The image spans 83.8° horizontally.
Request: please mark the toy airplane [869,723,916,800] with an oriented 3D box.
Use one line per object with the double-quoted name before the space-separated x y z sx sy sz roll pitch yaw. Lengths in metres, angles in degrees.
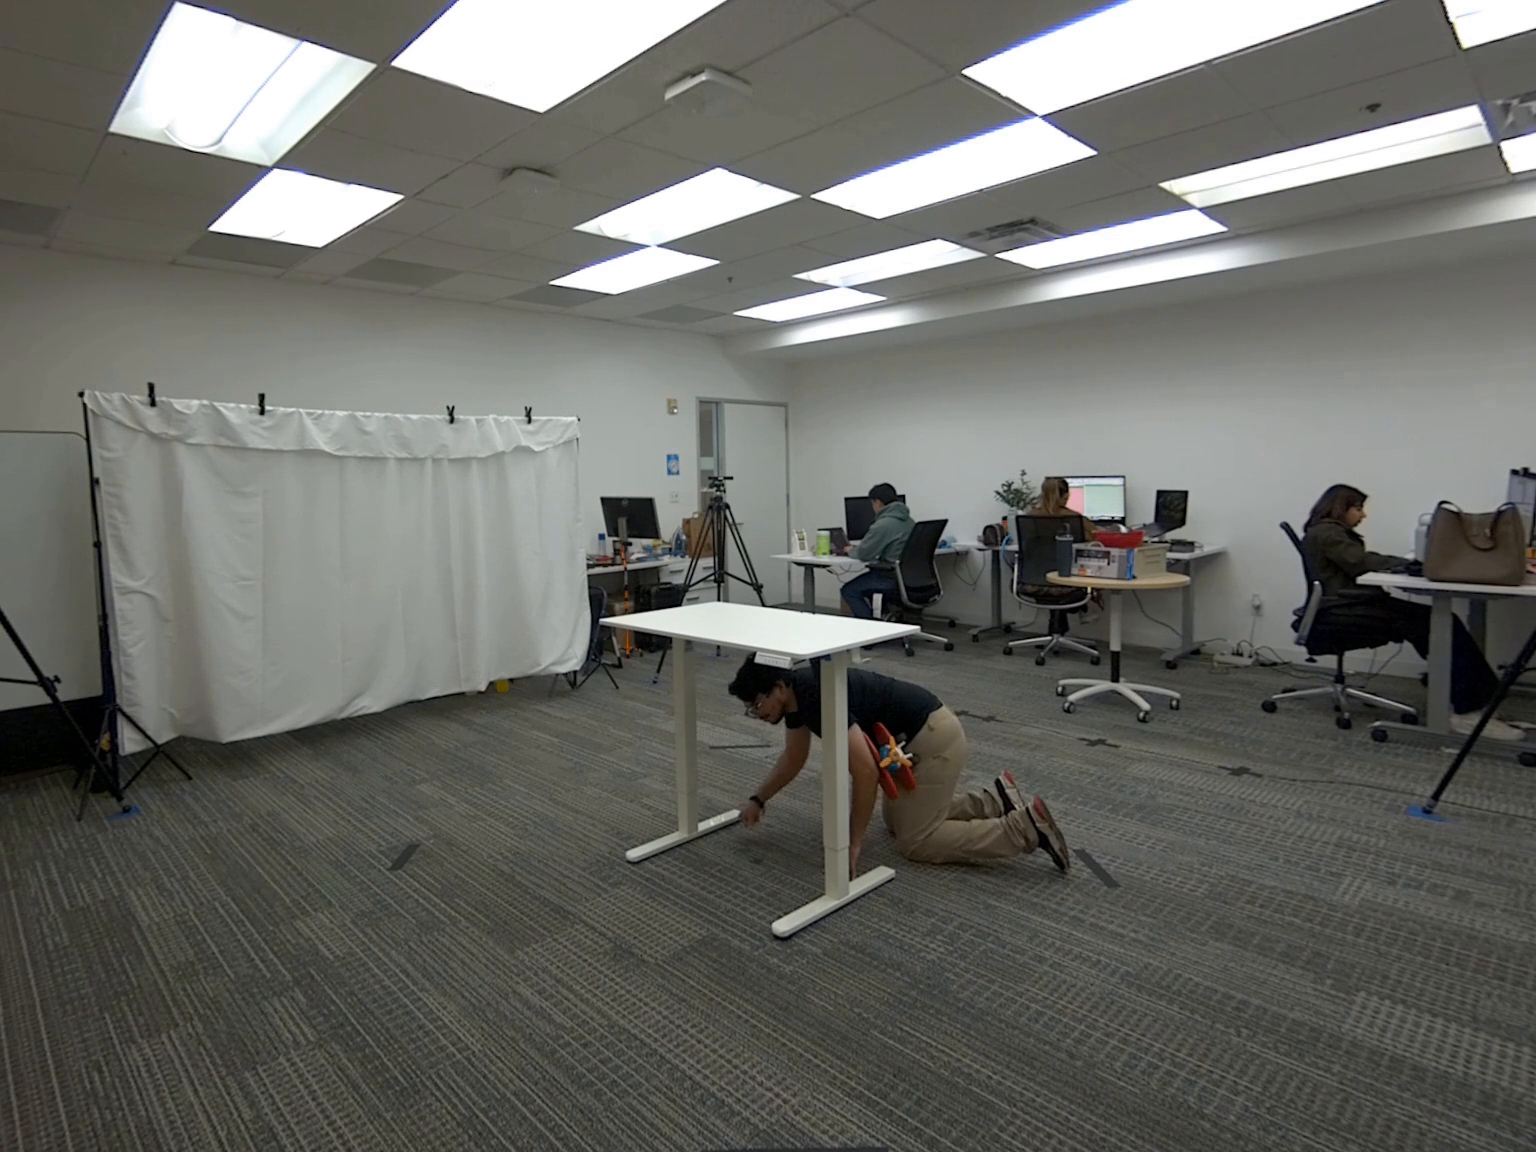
"toy airplane" 0.411 0.679 3.051 0.153 0.254 0.261 -15 43 -38
